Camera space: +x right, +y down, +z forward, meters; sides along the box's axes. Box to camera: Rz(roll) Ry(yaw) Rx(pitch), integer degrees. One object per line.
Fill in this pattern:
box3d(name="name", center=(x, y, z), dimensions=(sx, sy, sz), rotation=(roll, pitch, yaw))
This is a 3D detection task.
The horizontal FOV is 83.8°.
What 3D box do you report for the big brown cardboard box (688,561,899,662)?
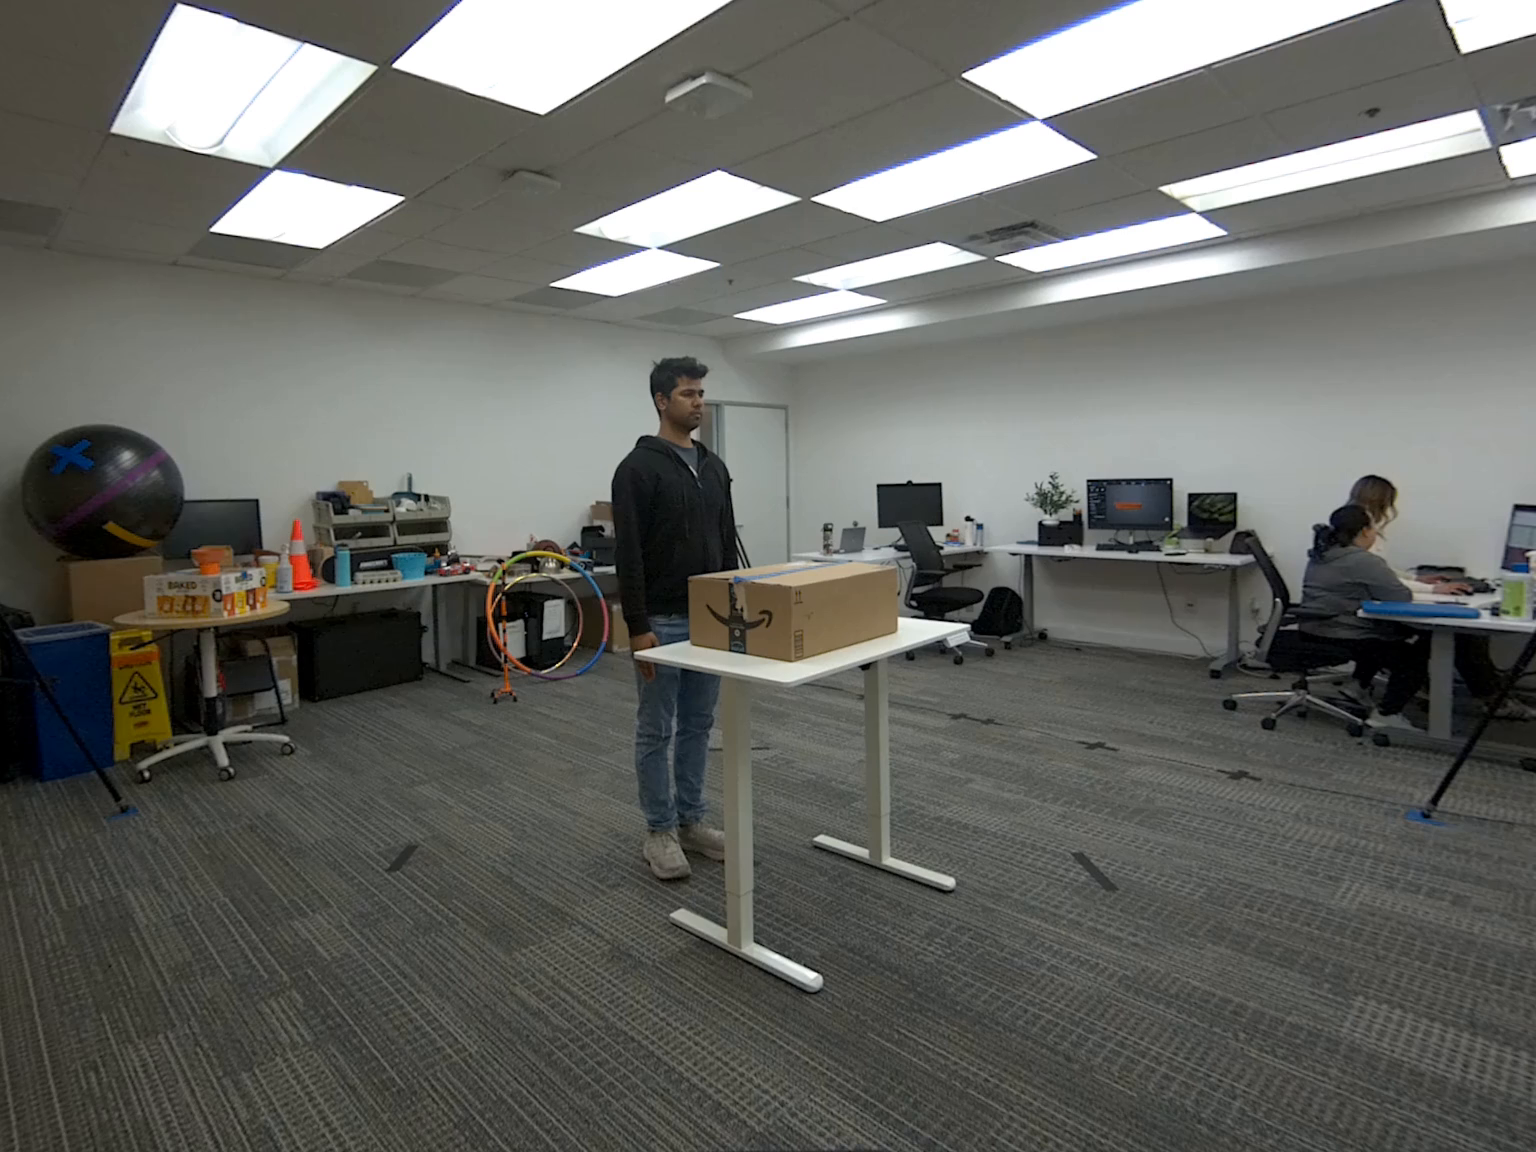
box3d(name="big brown cardboard box", center=(0.089, 0.091, 2.743), dimensions=(0.430, 0.232, 0.574), rotation=(4, 9, 41))
